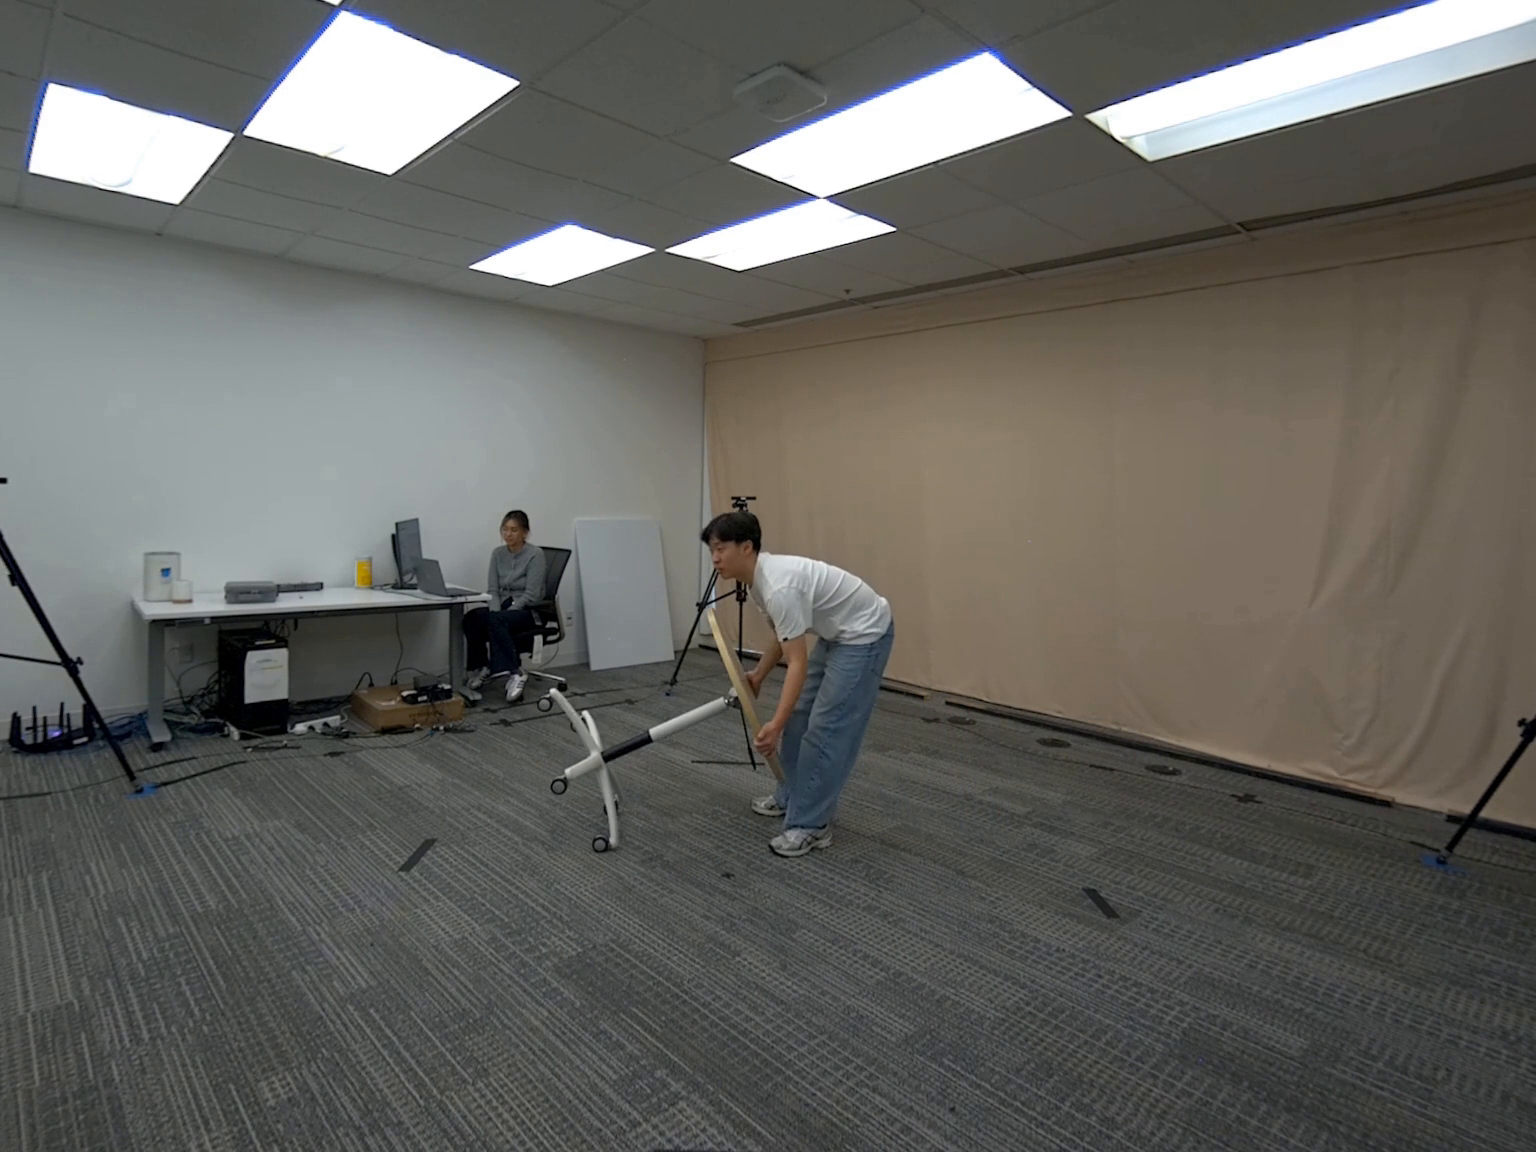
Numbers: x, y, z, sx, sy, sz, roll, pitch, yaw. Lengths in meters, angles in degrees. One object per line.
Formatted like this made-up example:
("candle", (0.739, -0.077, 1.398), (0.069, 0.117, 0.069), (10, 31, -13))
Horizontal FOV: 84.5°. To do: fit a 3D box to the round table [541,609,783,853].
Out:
("round table", (-0.449, 0.629, 3.434), (0.786, 0.781, 0.790), (-23, 6, -2))
